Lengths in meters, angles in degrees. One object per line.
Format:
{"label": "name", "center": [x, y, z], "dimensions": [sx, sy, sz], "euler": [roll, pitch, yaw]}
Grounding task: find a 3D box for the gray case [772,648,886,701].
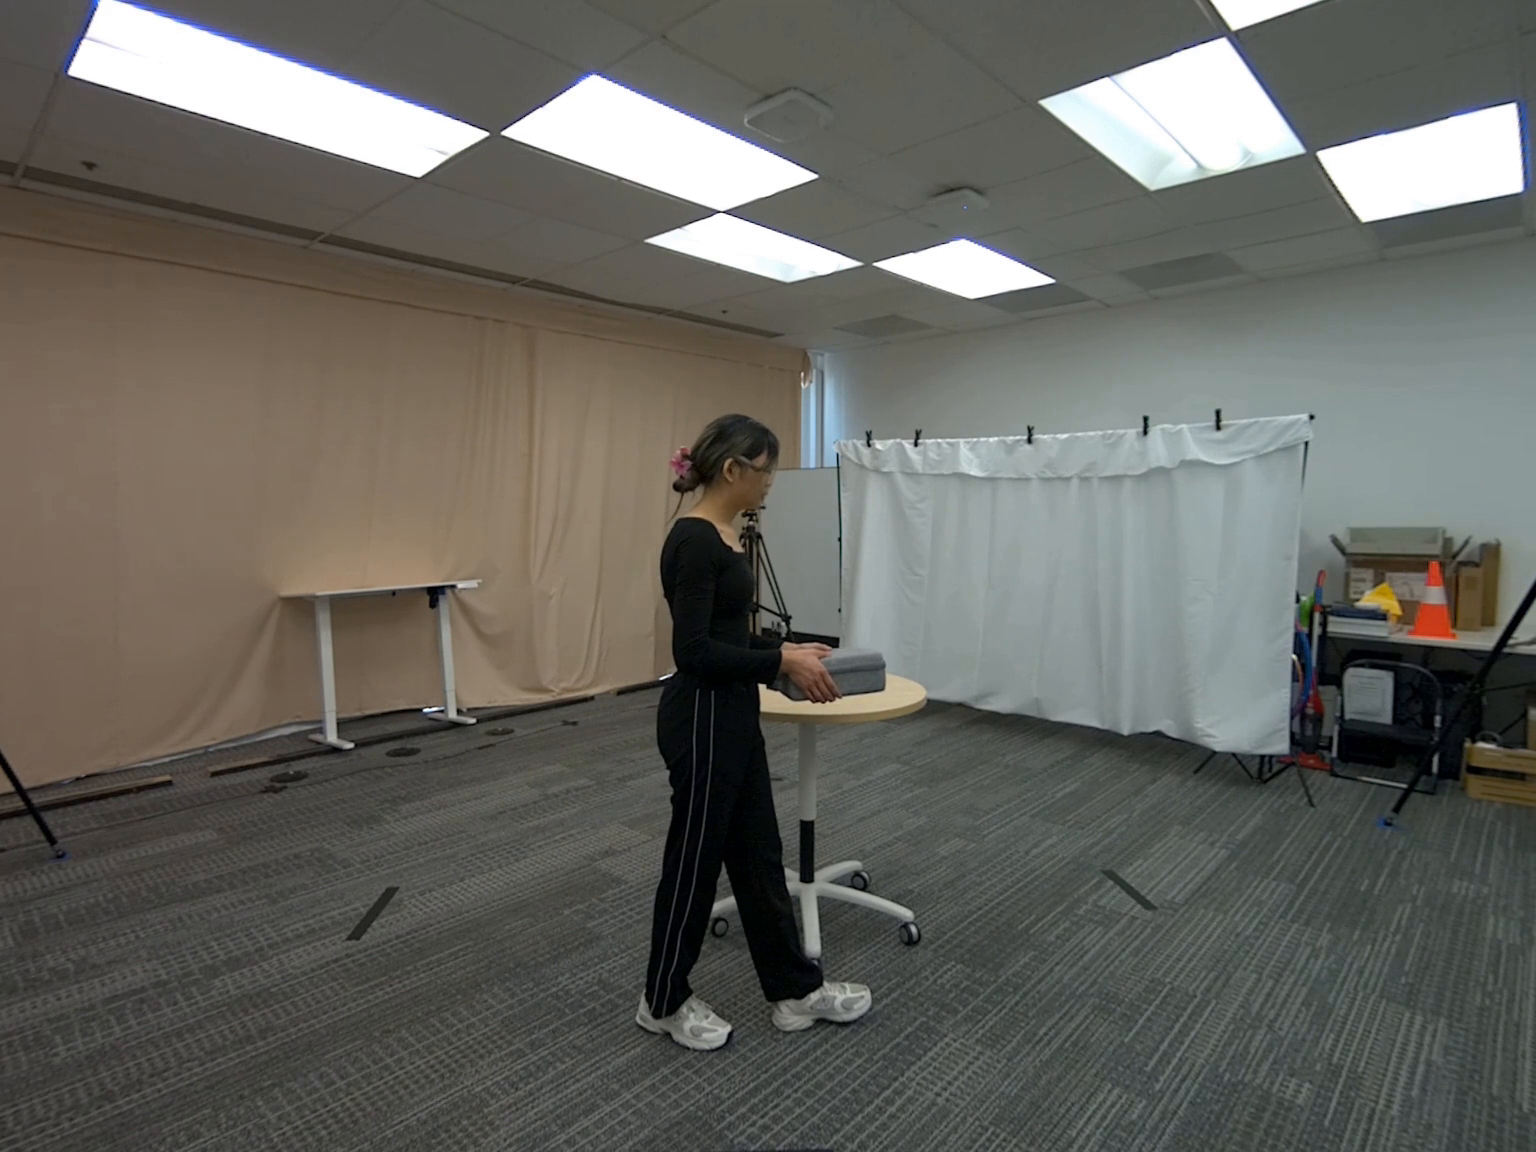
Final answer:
{"label": "gray case", "center": [0.149, 0.247, 2.171], "dimensions": [0.259, 0.104, 0.259], "euler": [-6, 2, -7]}
